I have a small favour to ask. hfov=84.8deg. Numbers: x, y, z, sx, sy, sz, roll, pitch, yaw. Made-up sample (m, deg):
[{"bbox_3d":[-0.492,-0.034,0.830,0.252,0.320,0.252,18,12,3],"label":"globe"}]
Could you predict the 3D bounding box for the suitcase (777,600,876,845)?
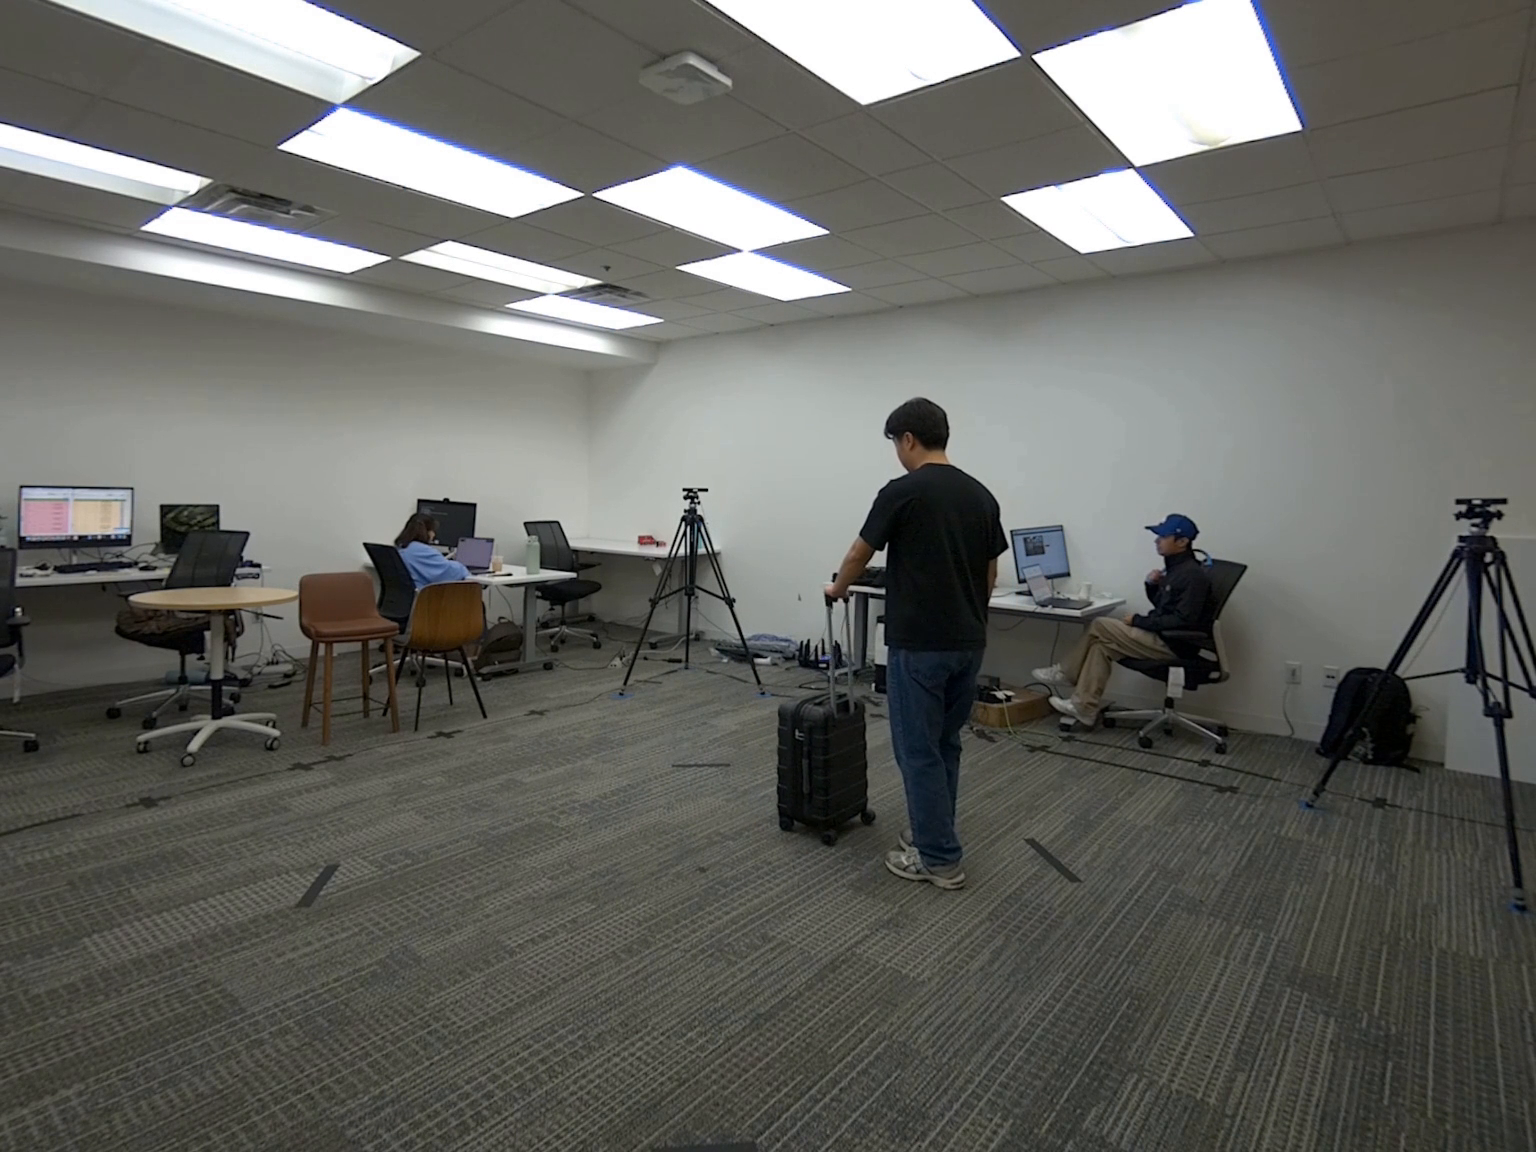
[{"bbox_3d":[0.208,0.560,3.538,0.265,0.979,0.372,-3,0,40],"label":"suitcase"}]
